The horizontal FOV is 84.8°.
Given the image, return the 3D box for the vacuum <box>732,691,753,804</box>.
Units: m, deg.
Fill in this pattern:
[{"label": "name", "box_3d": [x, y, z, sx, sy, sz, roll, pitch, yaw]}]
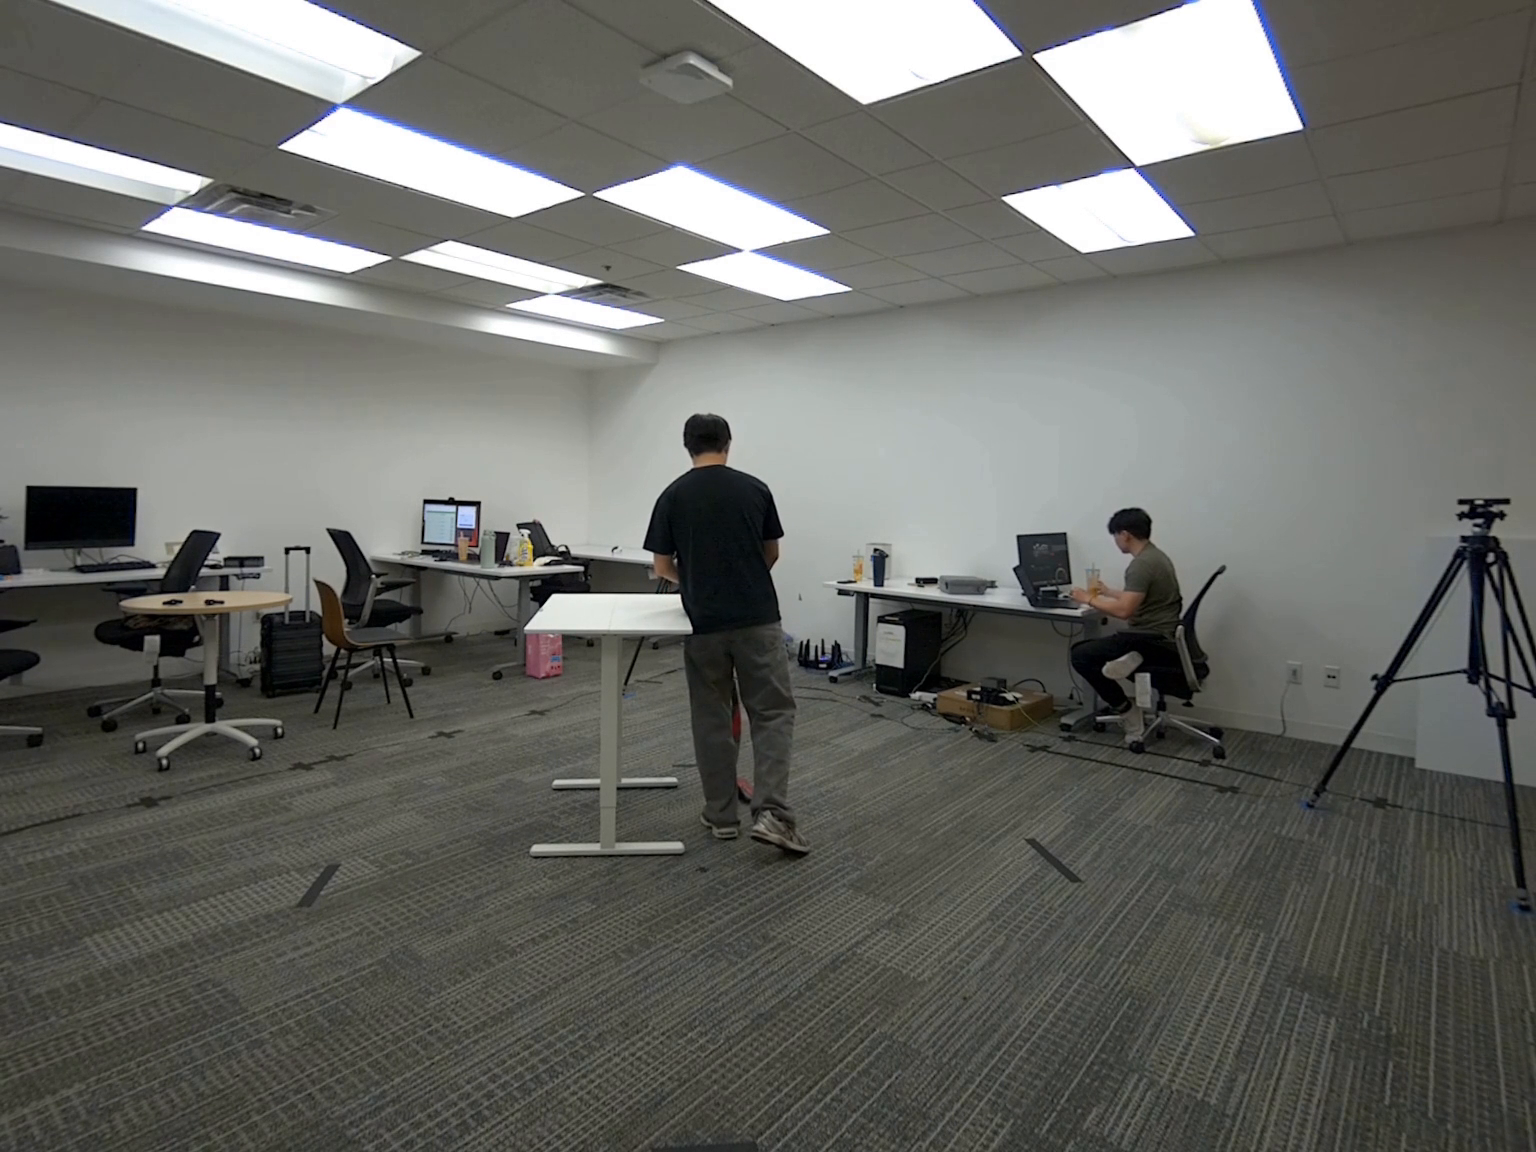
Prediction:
[{"label": "vacuum", "box_3d": [-0.212, 0.464, 3.823, 0.142, 1.043, 0.257, -8, 6, -12]}]
